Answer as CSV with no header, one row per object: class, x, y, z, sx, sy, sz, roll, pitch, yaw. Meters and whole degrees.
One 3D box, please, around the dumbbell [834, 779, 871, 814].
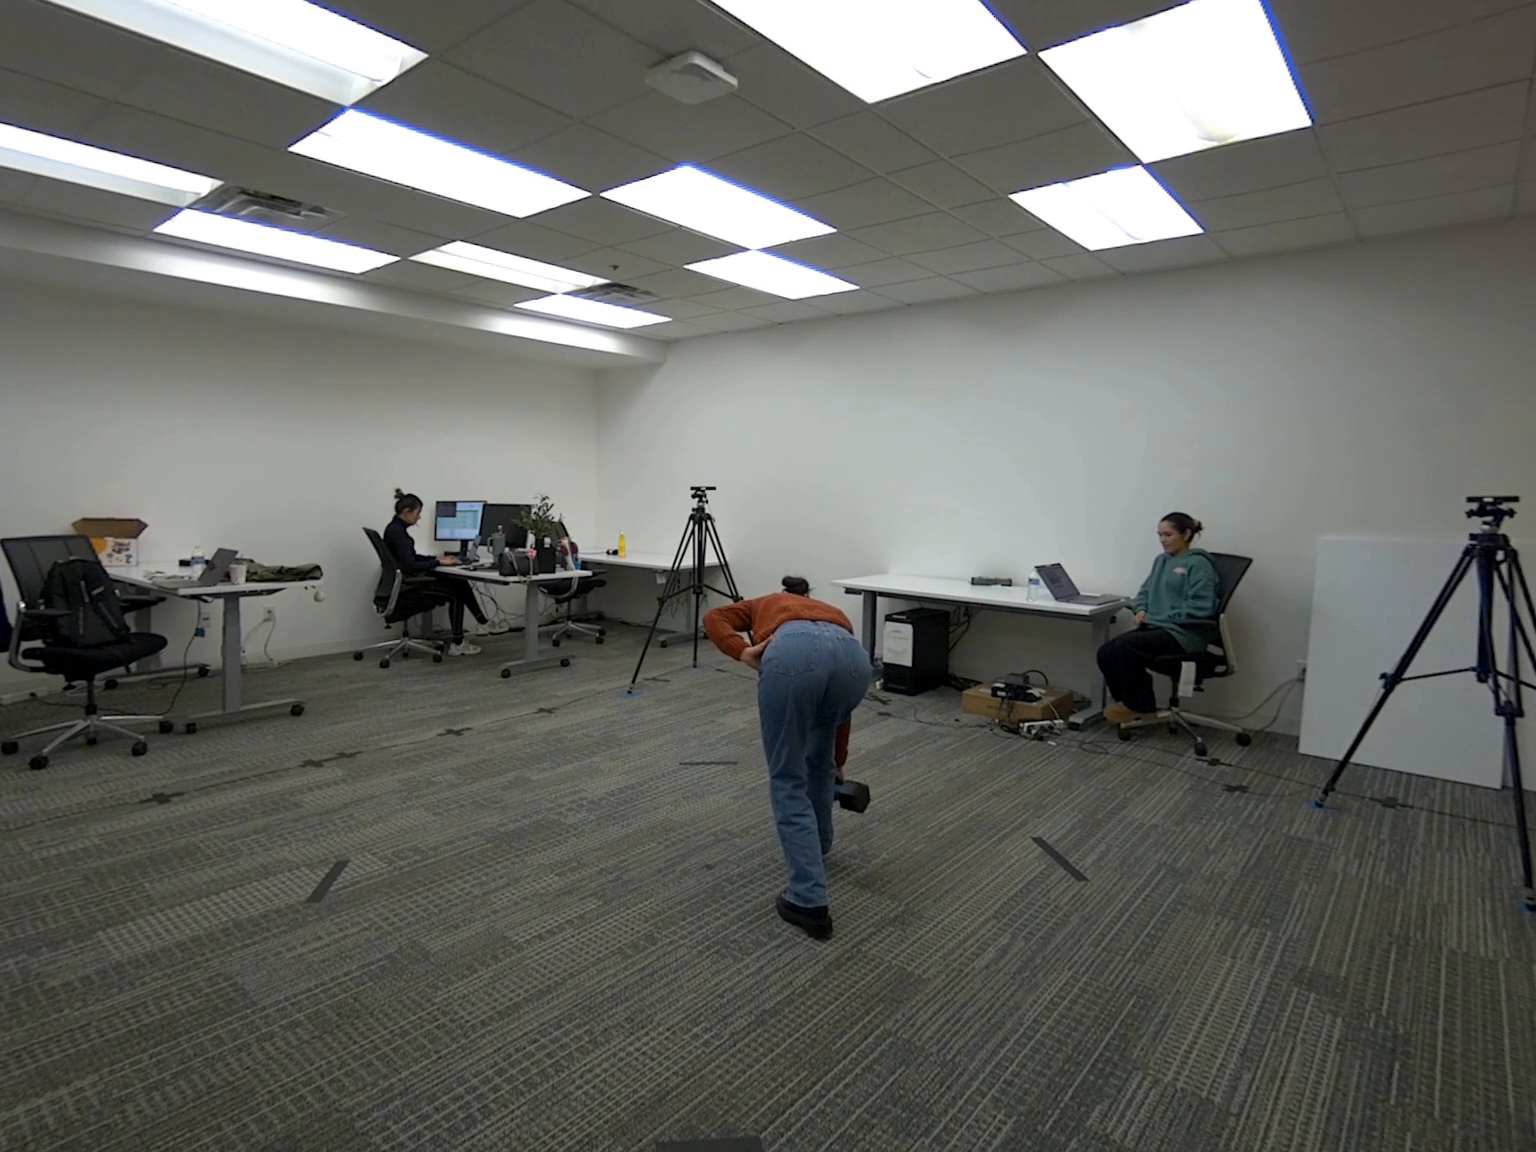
dumbbell,0.240,0.825,3.269,0.106,0.122,0.303,-16,11,-42
